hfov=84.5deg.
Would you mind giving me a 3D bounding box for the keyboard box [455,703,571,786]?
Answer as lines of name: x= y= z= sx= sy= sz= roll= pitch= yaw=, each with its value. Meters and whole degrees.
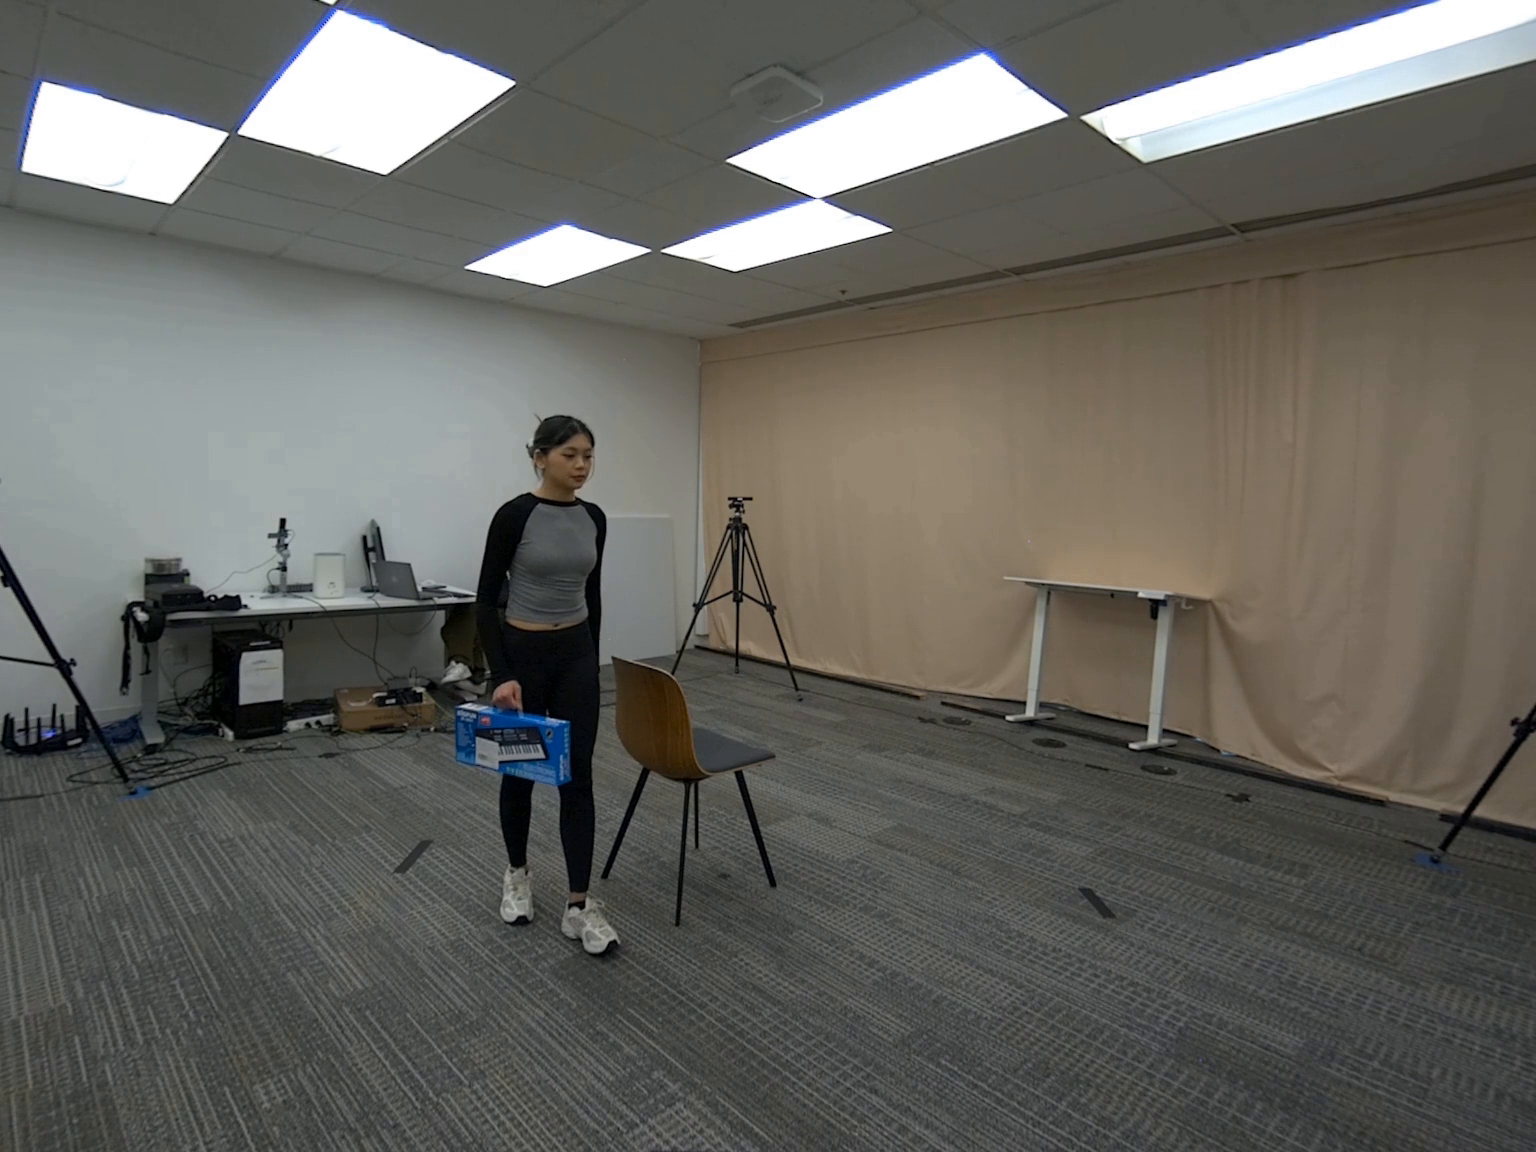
keyboard box: x=-0.779 y=0.497 z=2.496 sx=0.447 sy=0.175 sz=0.058 roll=2 pitch=4 yaw=34
